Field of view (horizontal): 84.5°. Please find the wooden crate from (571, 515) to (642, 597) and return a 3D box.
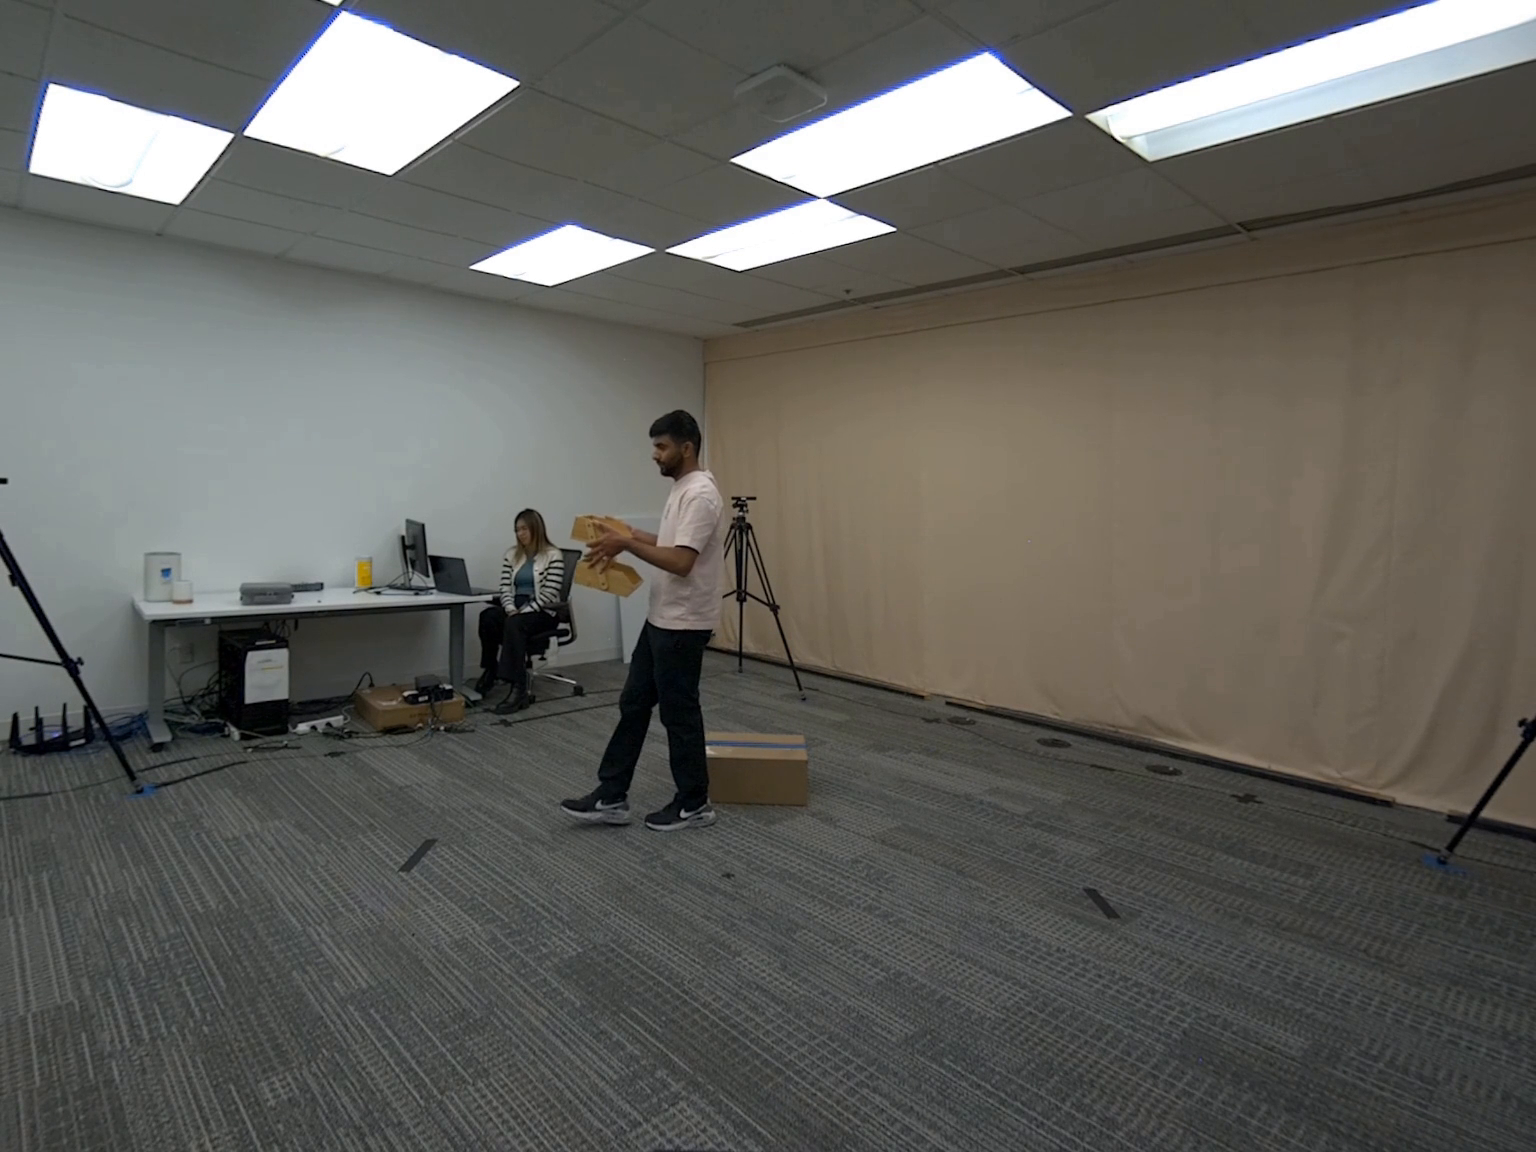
[{"bbox_3d":[-0.655,-0.089,3.485,0.302,0.273,0.325,15,4,-2],"label":"wooden crate"}]
